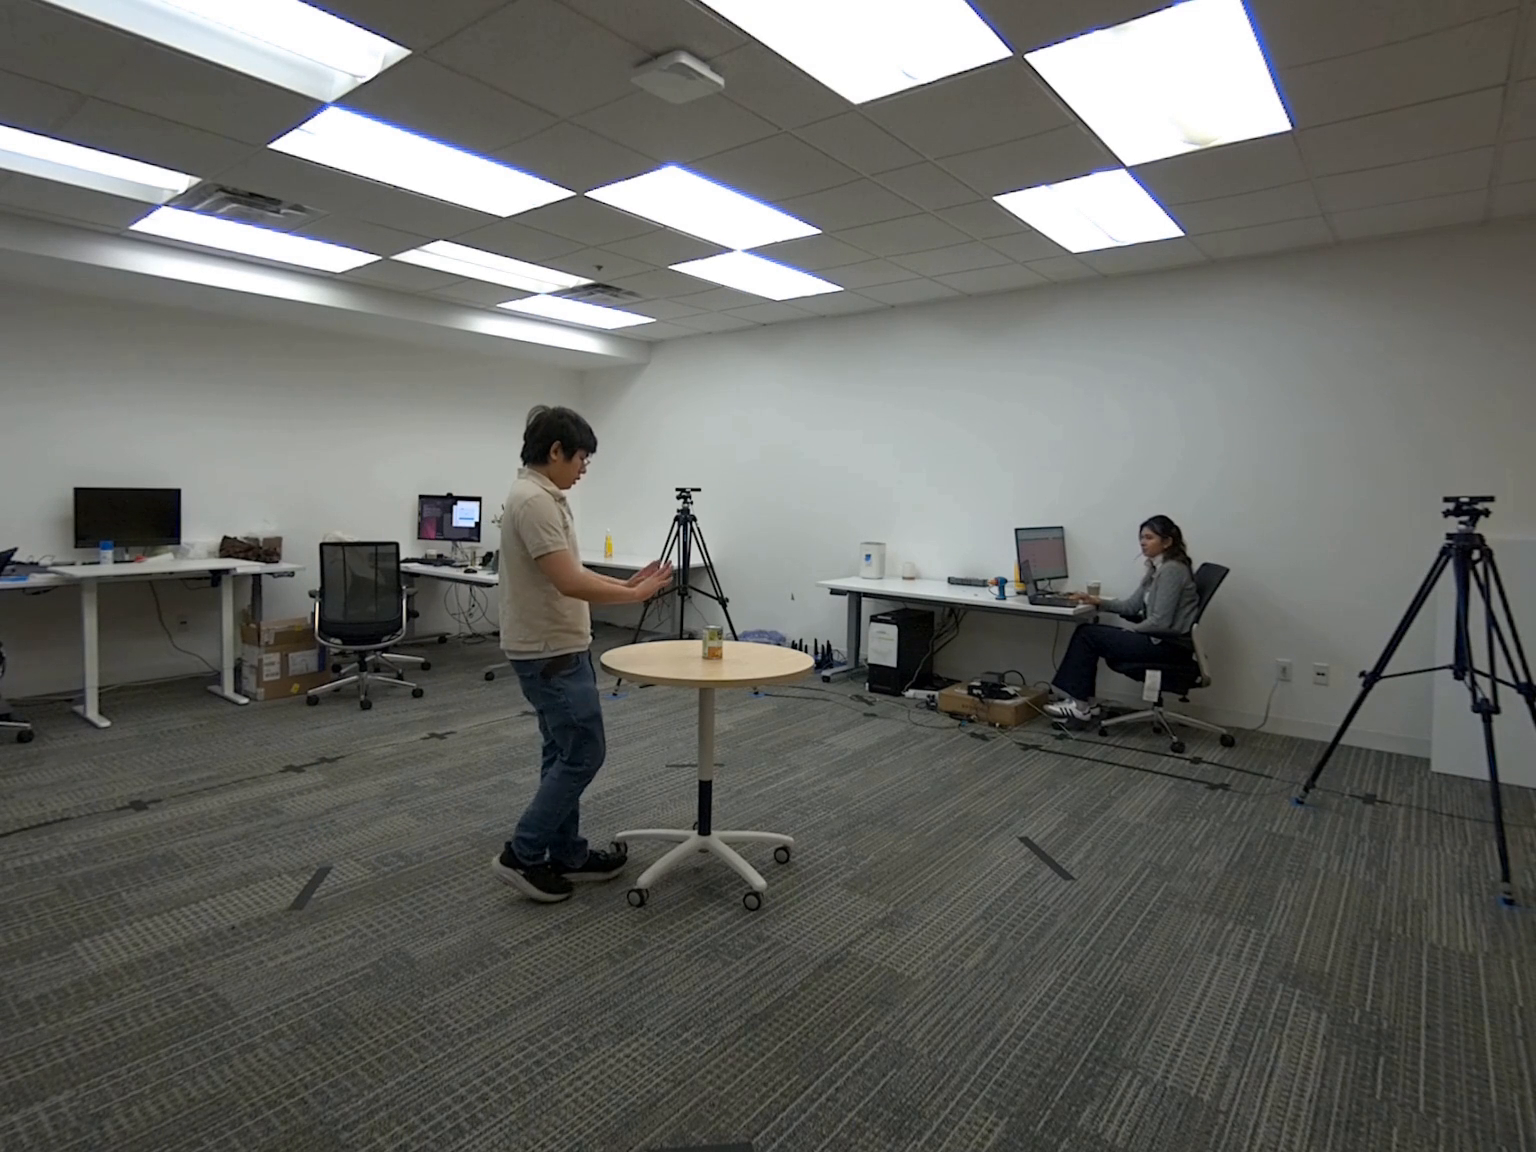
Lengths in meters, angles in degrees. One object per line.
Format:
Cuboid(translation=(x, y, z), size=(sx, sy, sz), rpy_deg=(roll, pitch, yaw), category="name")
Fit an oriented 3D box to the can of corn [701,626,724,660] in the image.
Cuboid(translation=(-0.214, 0.237, 3.049), size=(0.074, 0.111, 0.074), rpy_deg=(1, 3, -2), category="can of corn")
